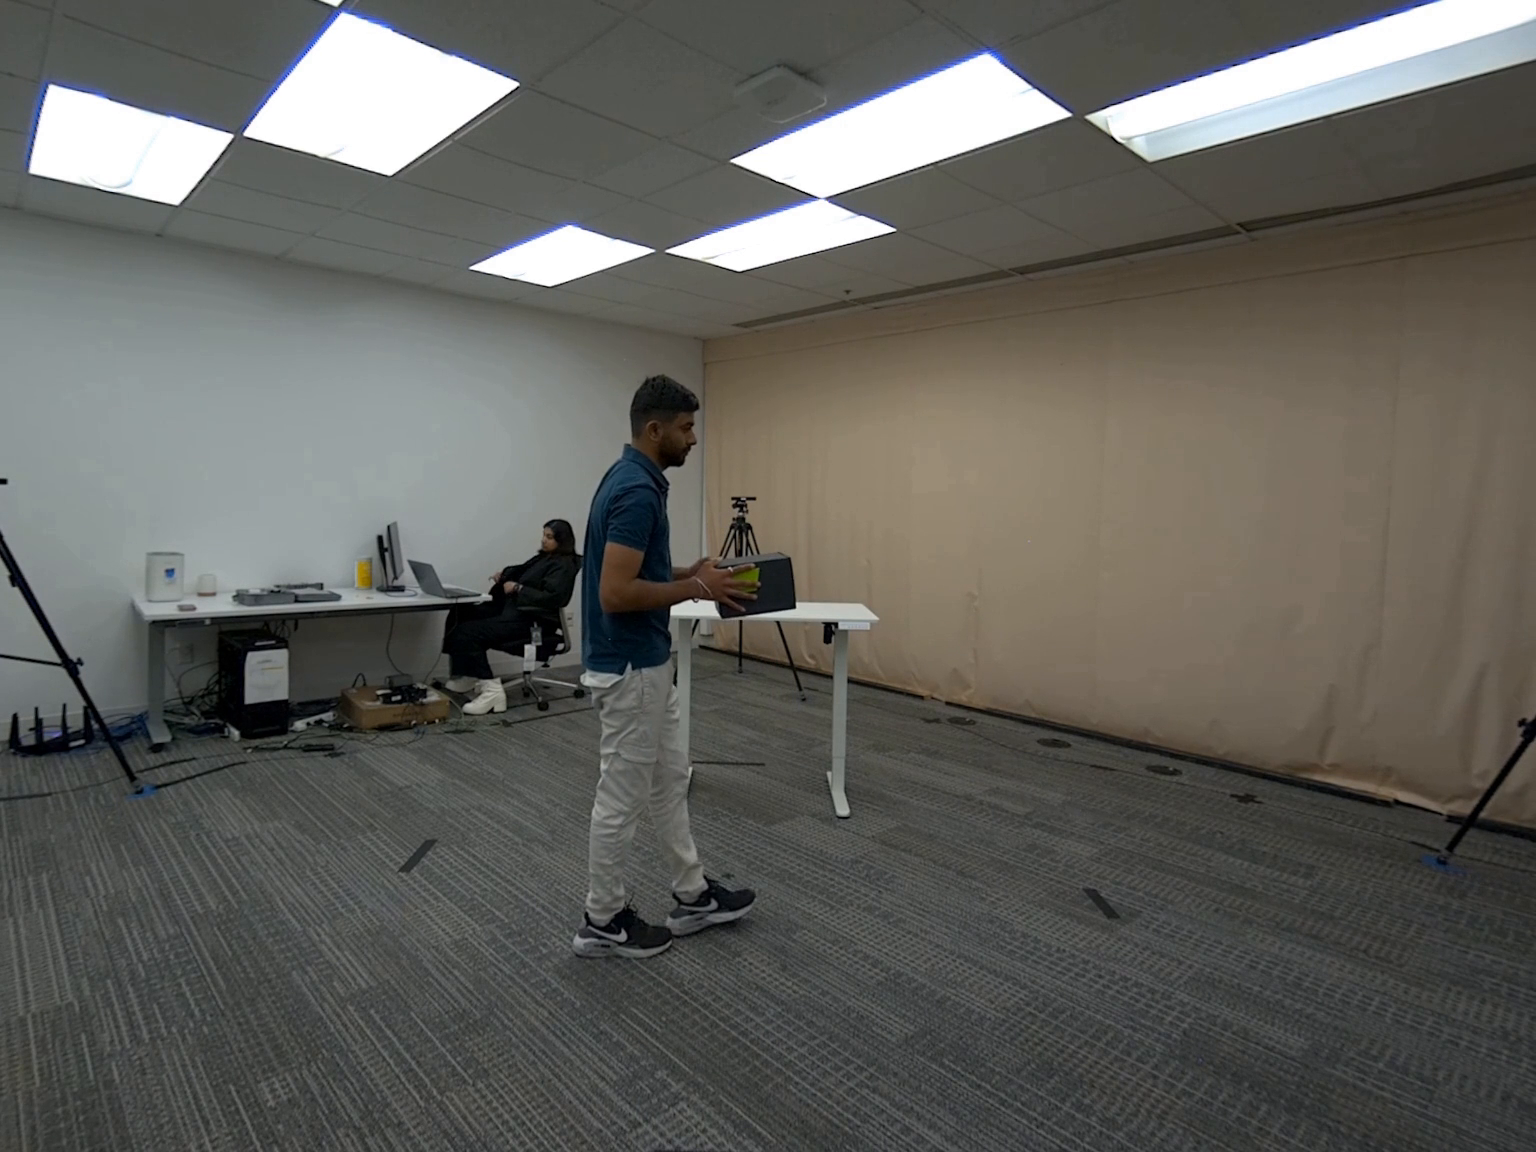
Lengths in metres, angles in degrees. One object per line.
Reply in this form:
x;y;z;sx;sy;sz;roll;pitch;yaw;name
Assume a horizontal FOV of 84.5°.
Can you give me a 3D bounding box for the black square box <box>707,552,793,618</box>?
-0.060;0.021;2.559;0.227;0.155;0.218;-4;5;-5;black square box
